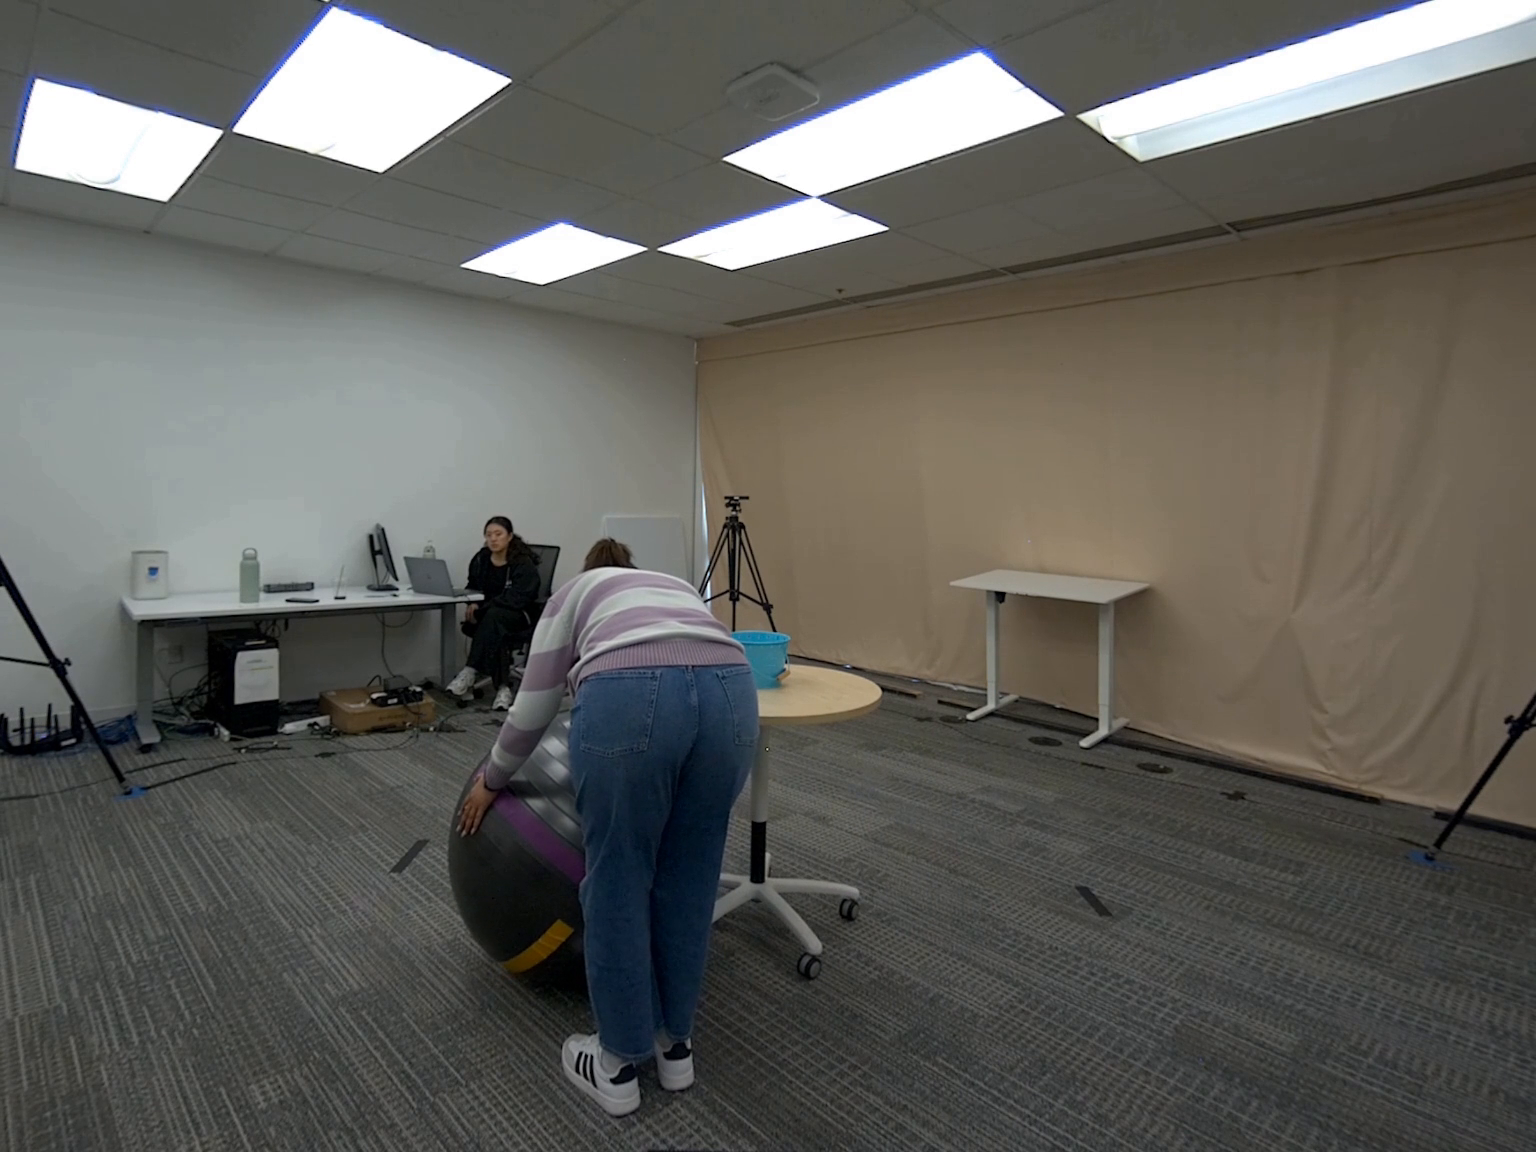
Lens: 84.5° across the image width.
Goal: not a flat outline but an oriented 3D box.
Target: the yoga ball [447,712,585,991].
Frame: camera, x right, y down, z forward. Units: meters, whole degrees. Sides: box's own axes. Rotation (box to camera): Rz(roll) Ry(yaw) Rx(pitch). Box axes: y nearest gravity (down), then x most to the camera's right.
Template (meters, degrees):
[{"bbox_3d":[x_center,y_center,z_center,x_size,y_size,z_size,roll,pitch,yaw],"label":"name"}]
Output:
[{"bbox_3d":[-0.563,0.783,2.483,0.757,0.756,0.761,1,4,-1],"label":"yoga ball"}]
